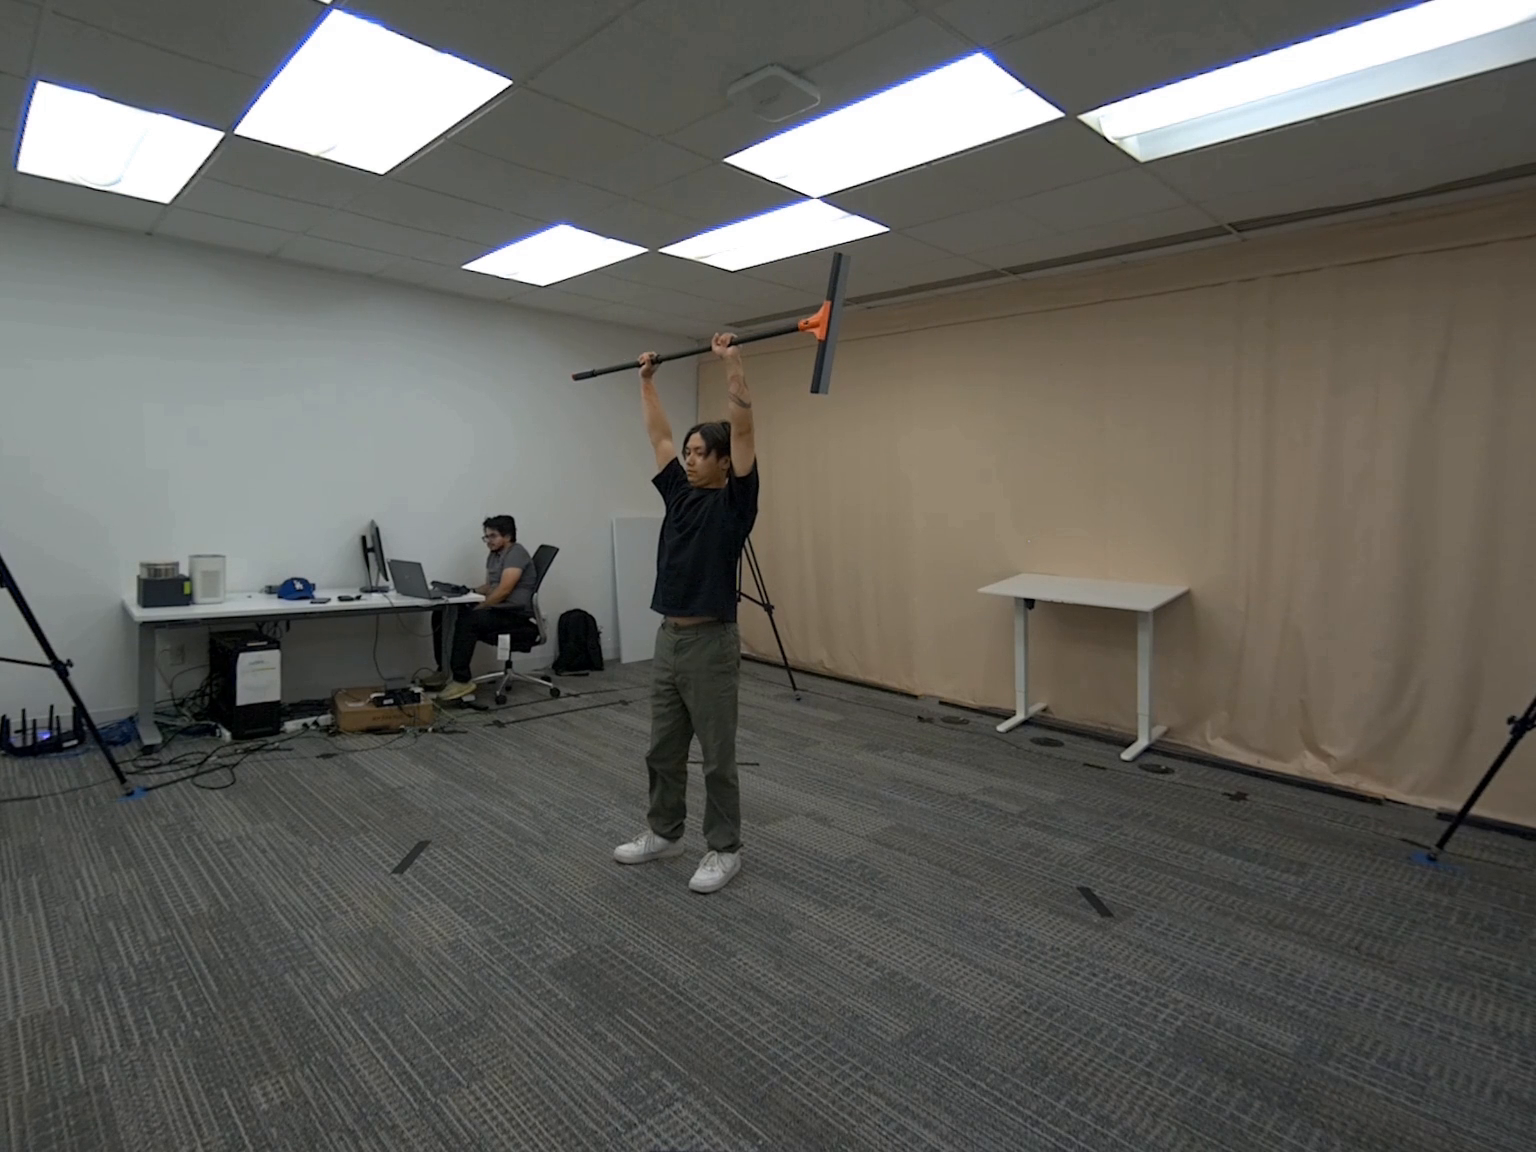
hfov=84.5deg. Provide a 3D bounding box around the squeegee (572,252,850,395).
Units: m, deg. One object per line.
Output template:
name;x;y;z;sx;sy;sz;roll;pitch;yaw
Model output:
squeegee;-0.334;-0.802;3.058;0.051;0.438;1.577;9;-2;-42
